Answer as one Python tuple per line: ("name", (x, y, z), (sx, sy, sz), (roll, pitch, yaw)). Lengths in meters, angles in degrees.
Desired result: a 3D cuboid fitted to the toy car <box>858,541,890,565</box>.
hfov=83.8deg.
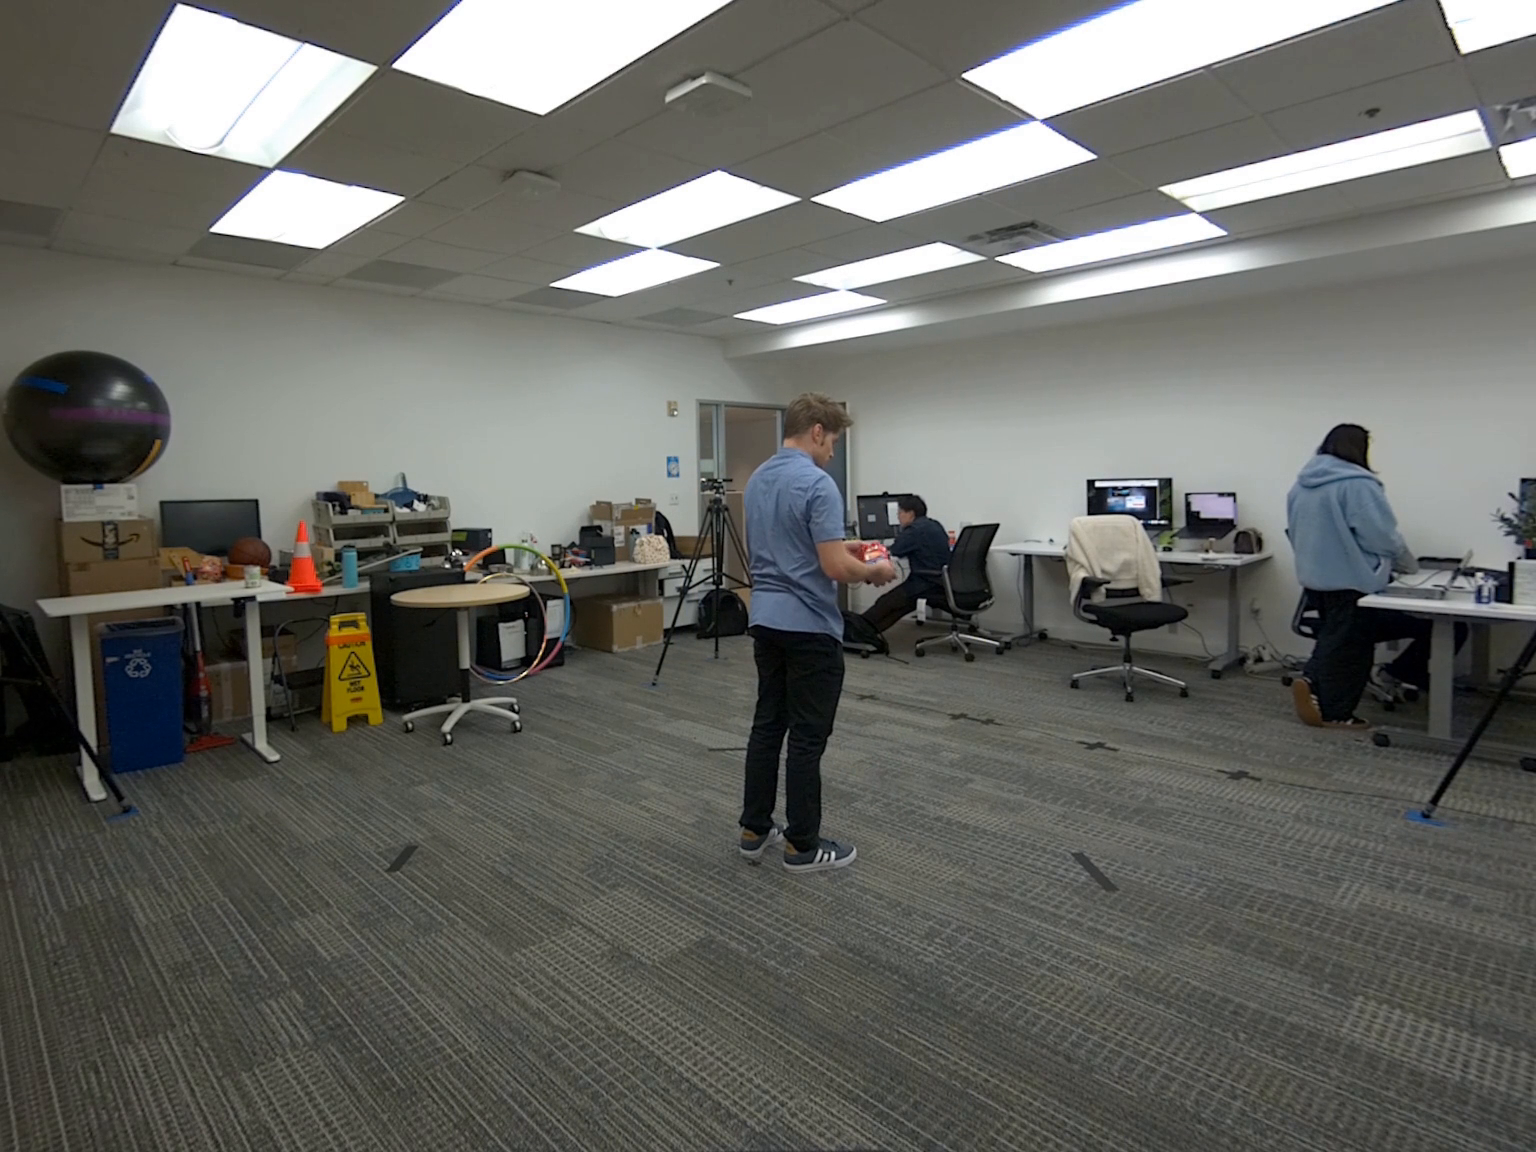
("toy car", (0.397, -0.047, 3.255), (0.131, 0.080, 0.261), (-20, 33, 11))
